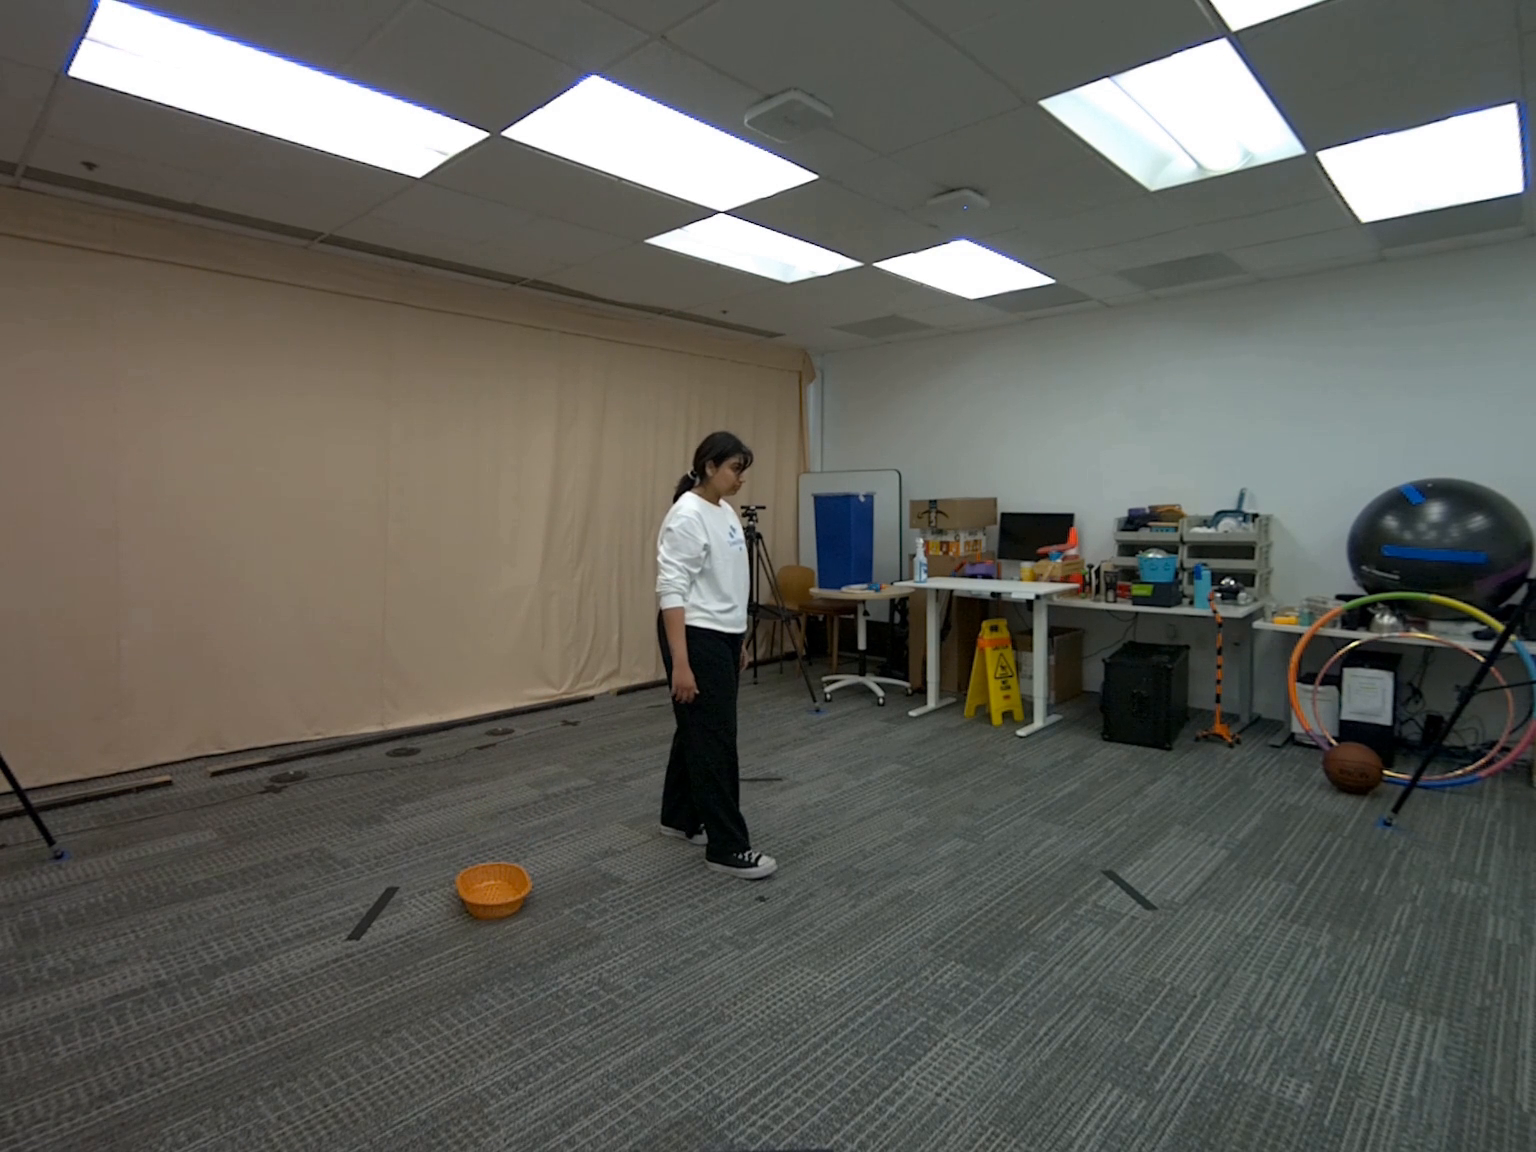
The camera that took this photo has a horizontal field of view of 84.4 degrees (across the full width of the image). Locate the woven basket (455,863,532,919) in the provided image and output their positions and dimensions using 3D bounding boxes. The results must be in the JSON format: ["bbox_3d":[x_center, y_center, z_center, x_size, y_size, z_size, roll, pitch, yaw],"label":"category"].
[{"bbox_3d":[-0.973,1.119,2.979,0.246,0.073,0.360,-1,4,-27],"label":"woven basket"}]
